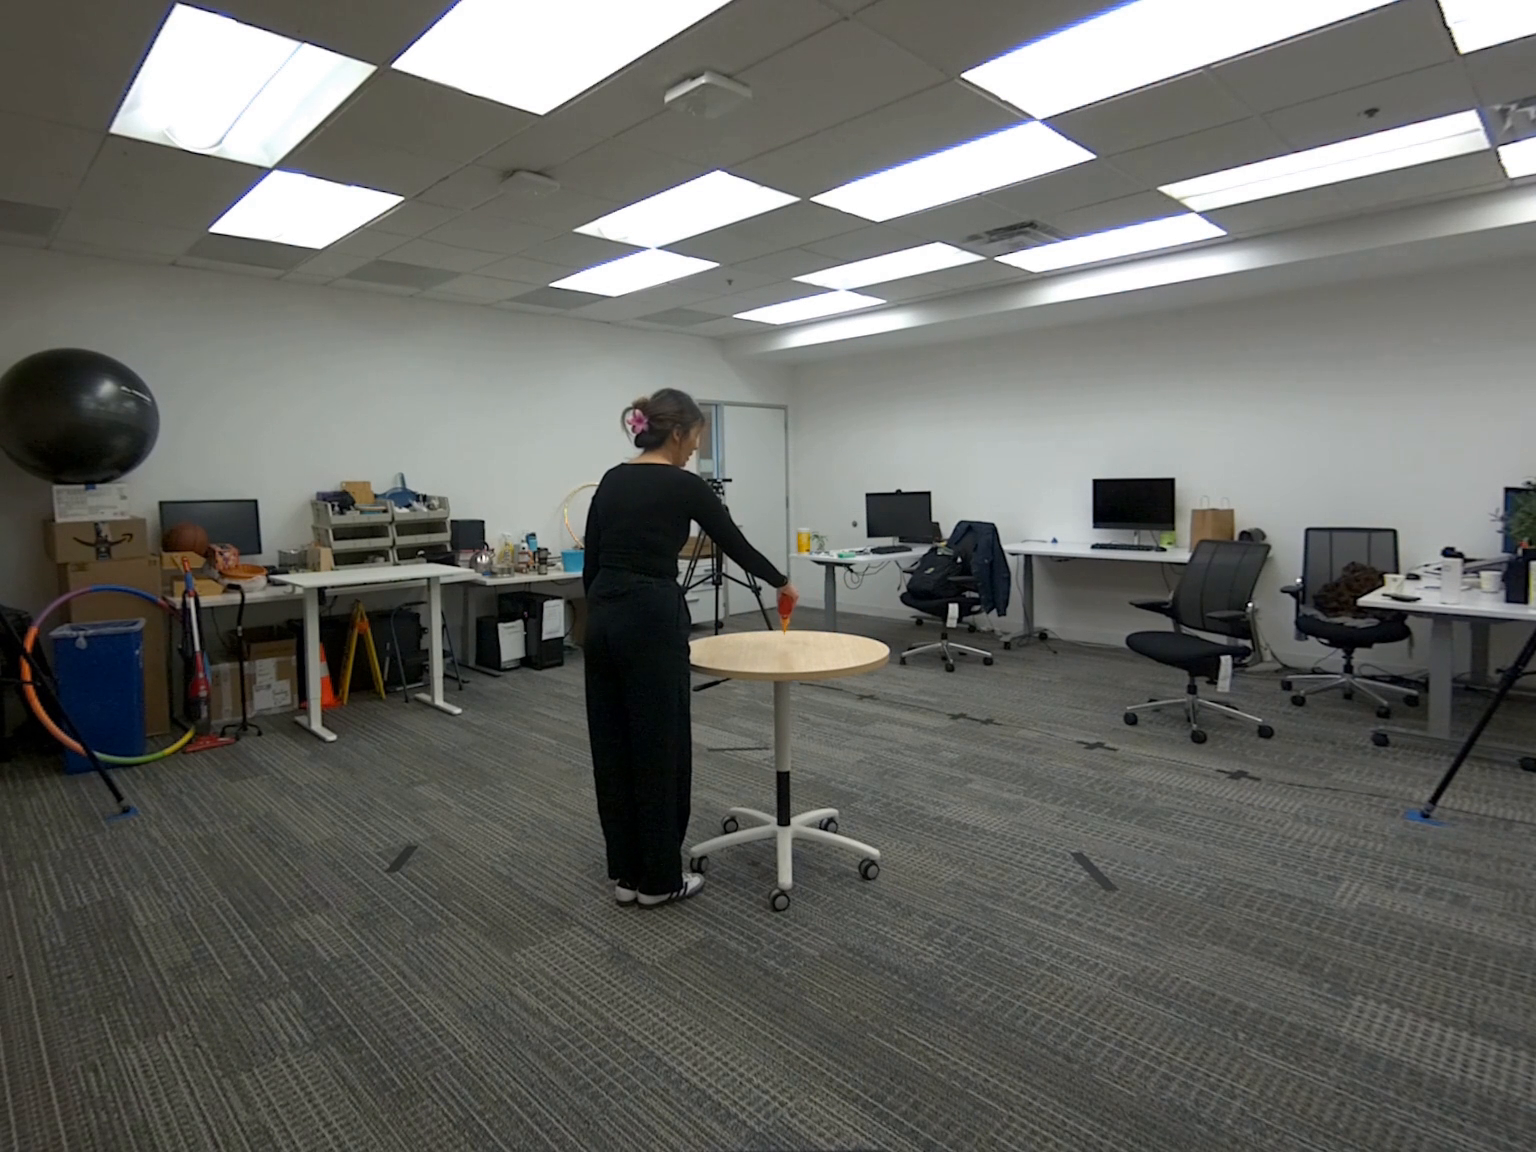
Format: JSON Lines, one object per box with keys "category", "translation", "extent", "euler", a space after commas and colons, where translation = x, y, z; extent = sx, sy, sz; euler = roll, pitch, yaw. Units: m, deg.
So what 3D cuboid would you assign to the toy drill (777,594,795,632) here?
{"category": "toy drill", "translation": [0.078, 0.134, 3.108], "extent": [0.061, 0.168, 0.146], "euler": [7, 9, 5]}
